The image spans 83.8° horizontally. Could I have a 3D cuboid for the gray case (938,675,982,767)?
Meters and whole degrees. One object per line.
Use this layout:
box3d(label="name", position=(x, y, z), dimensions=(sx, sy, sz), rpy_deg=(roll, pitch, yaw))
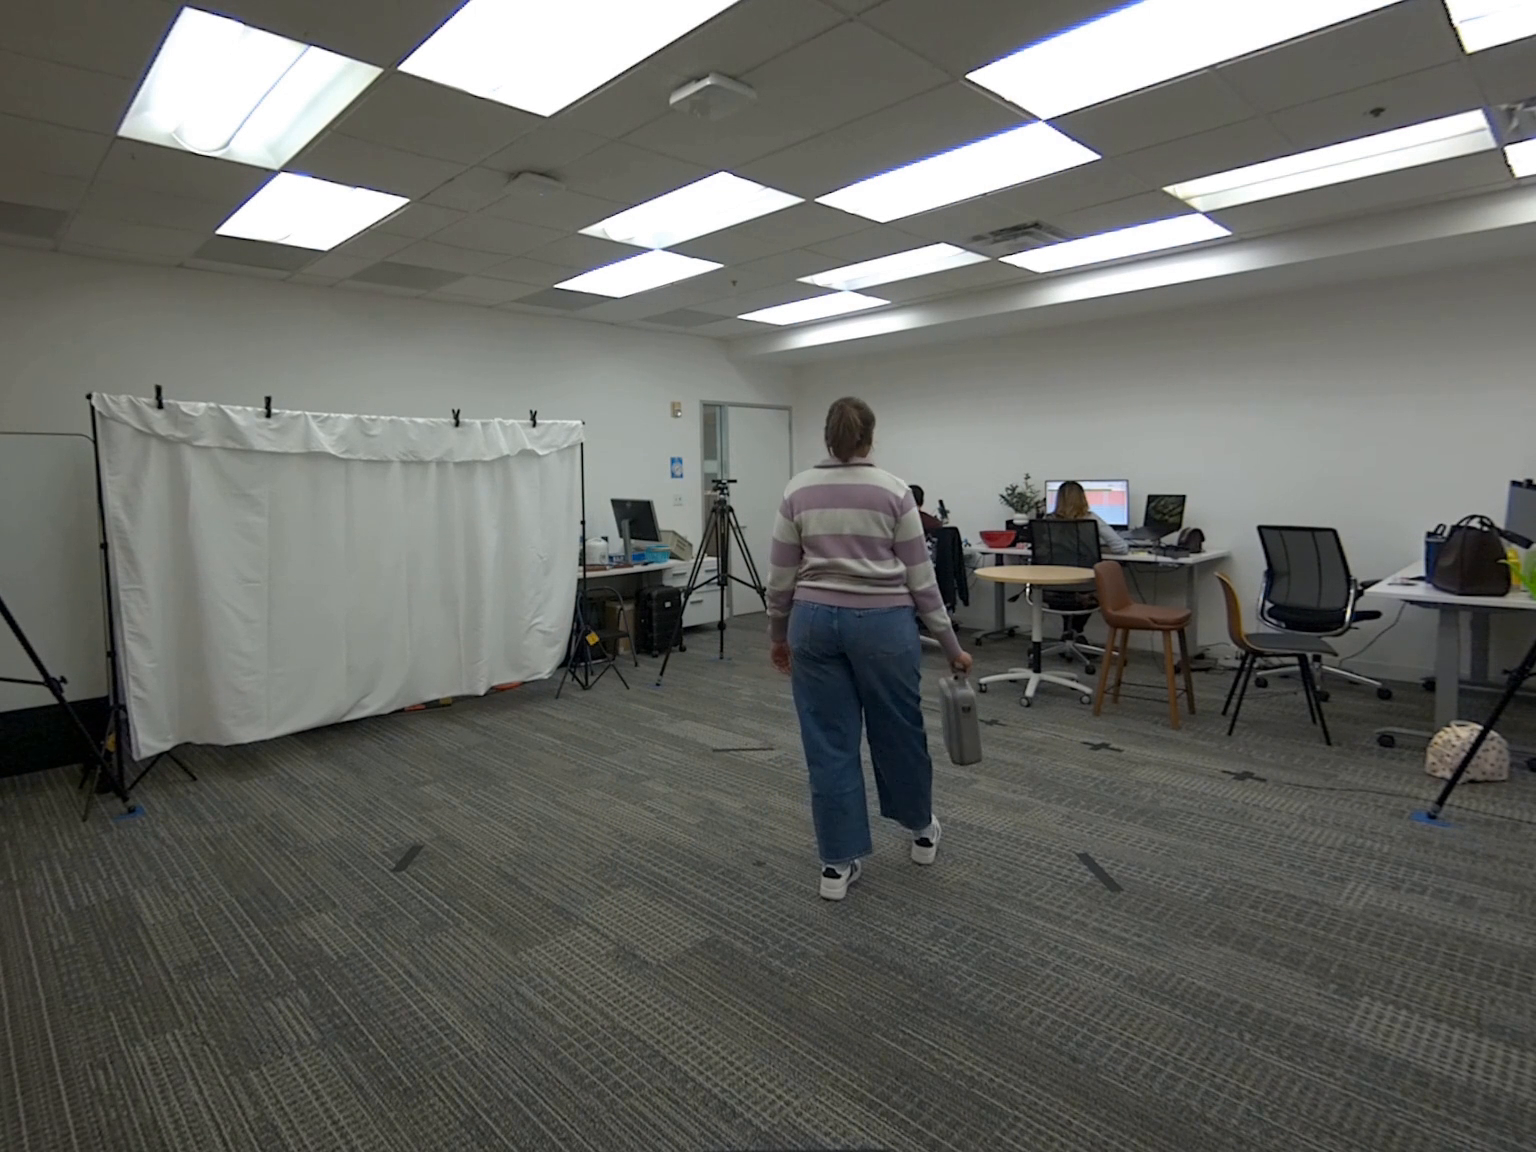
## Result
box3d(label="gray case", position=(0.656, 0.486, 2.946), dimensions=(0.105, 0.259, 0.256), rpy_deg=(-6, 5, 6))
